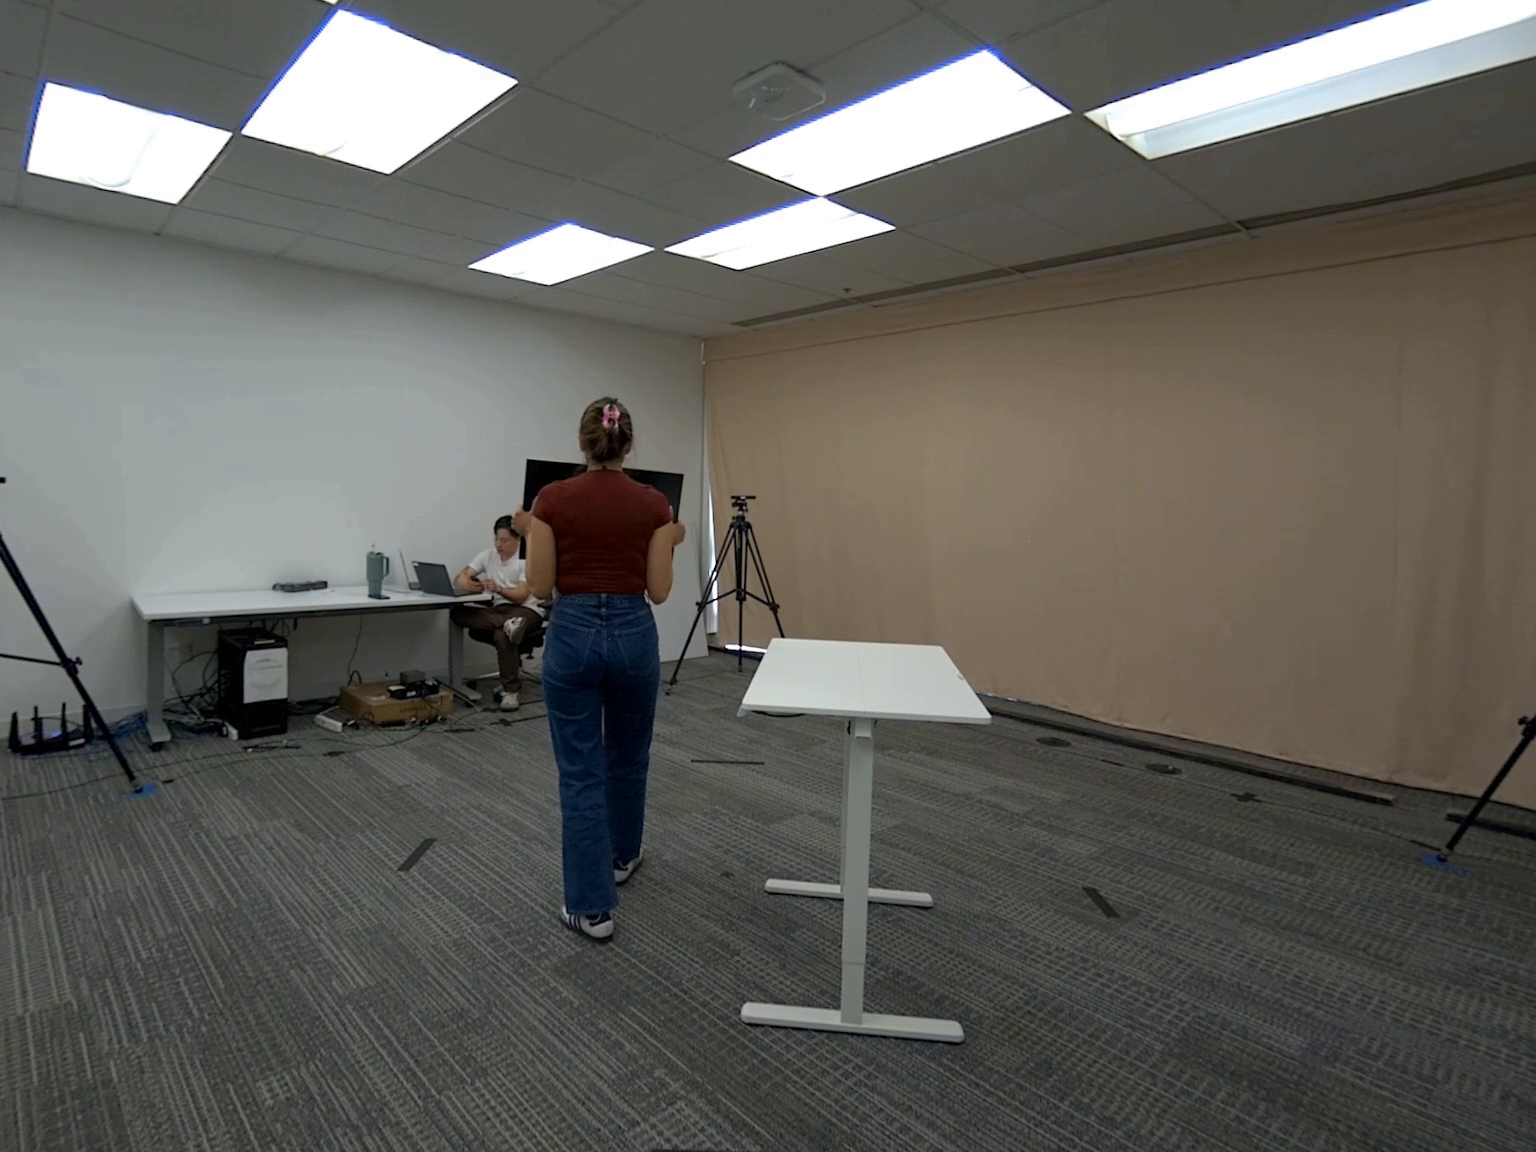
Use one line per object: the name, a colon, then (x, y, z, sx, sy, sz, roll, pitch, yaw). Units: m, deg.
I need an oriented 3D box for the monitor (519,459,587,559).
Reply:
monitor: (-0.602, -0.148, 2.986, 0.531, 0.515, 0.192, 4, 32, -17)
